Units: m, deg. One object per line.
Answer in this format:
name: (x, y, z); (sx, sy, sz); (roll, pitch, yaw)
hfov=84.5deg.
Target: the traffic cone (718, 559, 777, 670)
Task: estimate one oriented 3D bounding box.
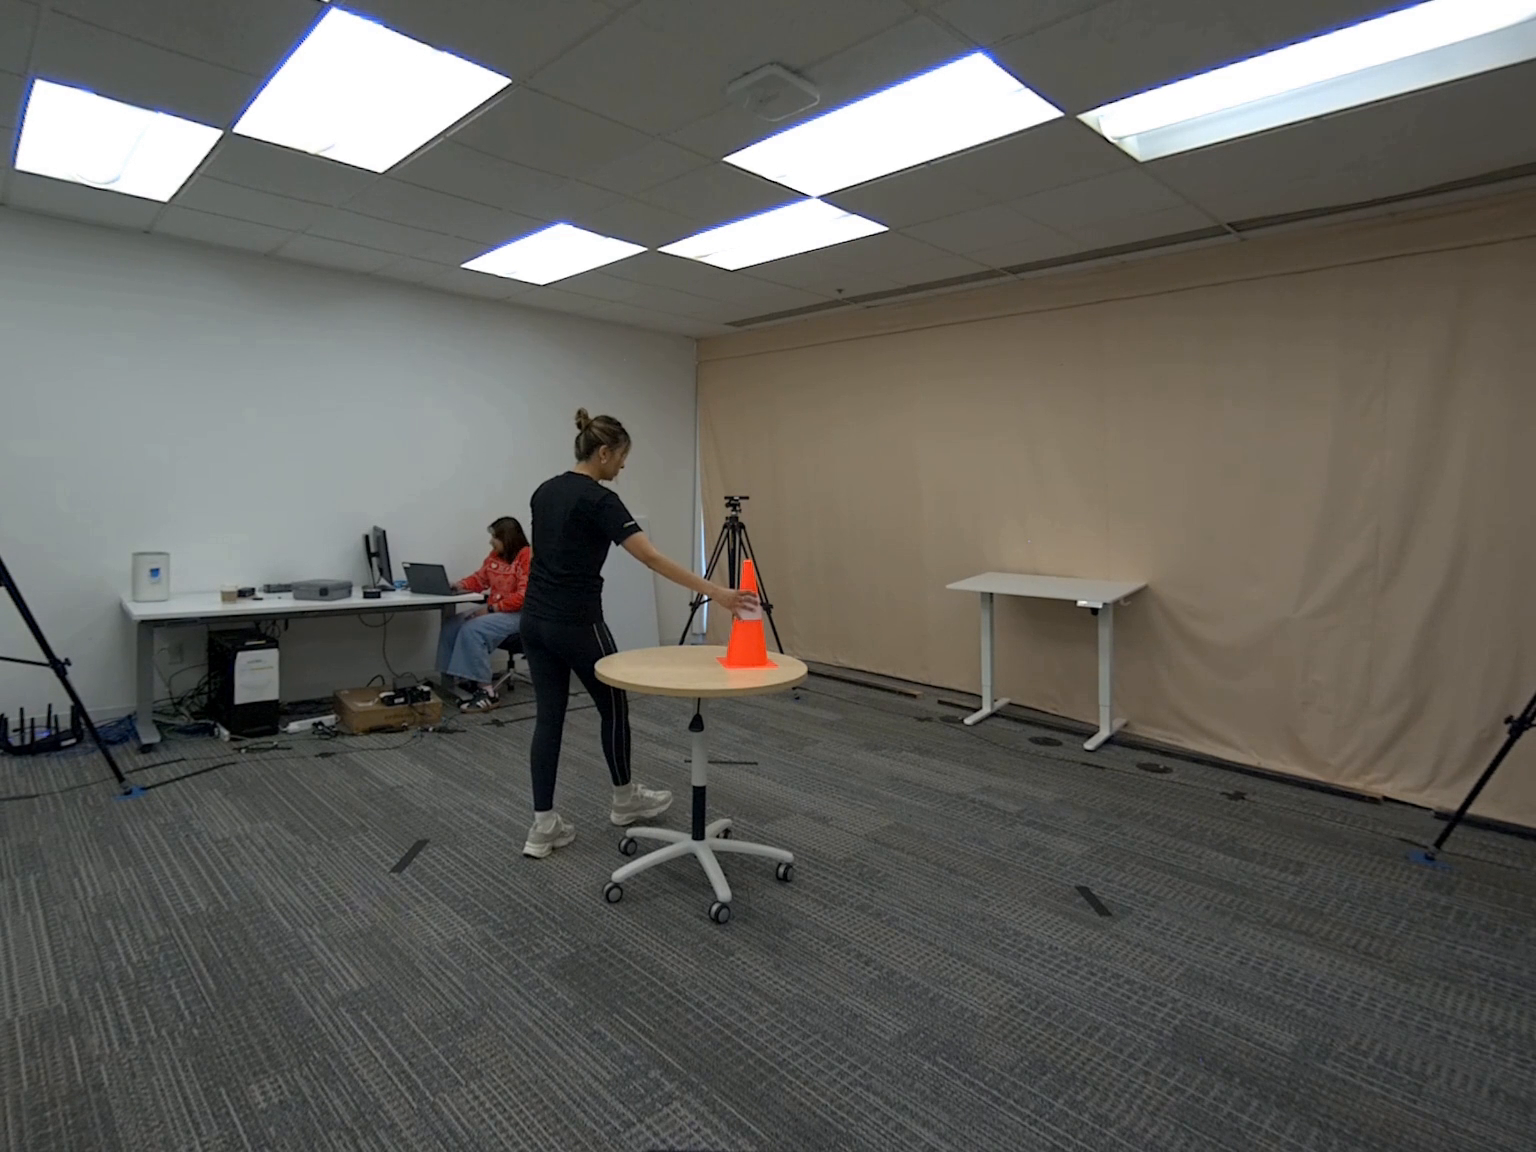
traffic cone: (-0.084, 0.133, 3.101); (0.199, 0.383, 0.209); (1, 1, -28)
